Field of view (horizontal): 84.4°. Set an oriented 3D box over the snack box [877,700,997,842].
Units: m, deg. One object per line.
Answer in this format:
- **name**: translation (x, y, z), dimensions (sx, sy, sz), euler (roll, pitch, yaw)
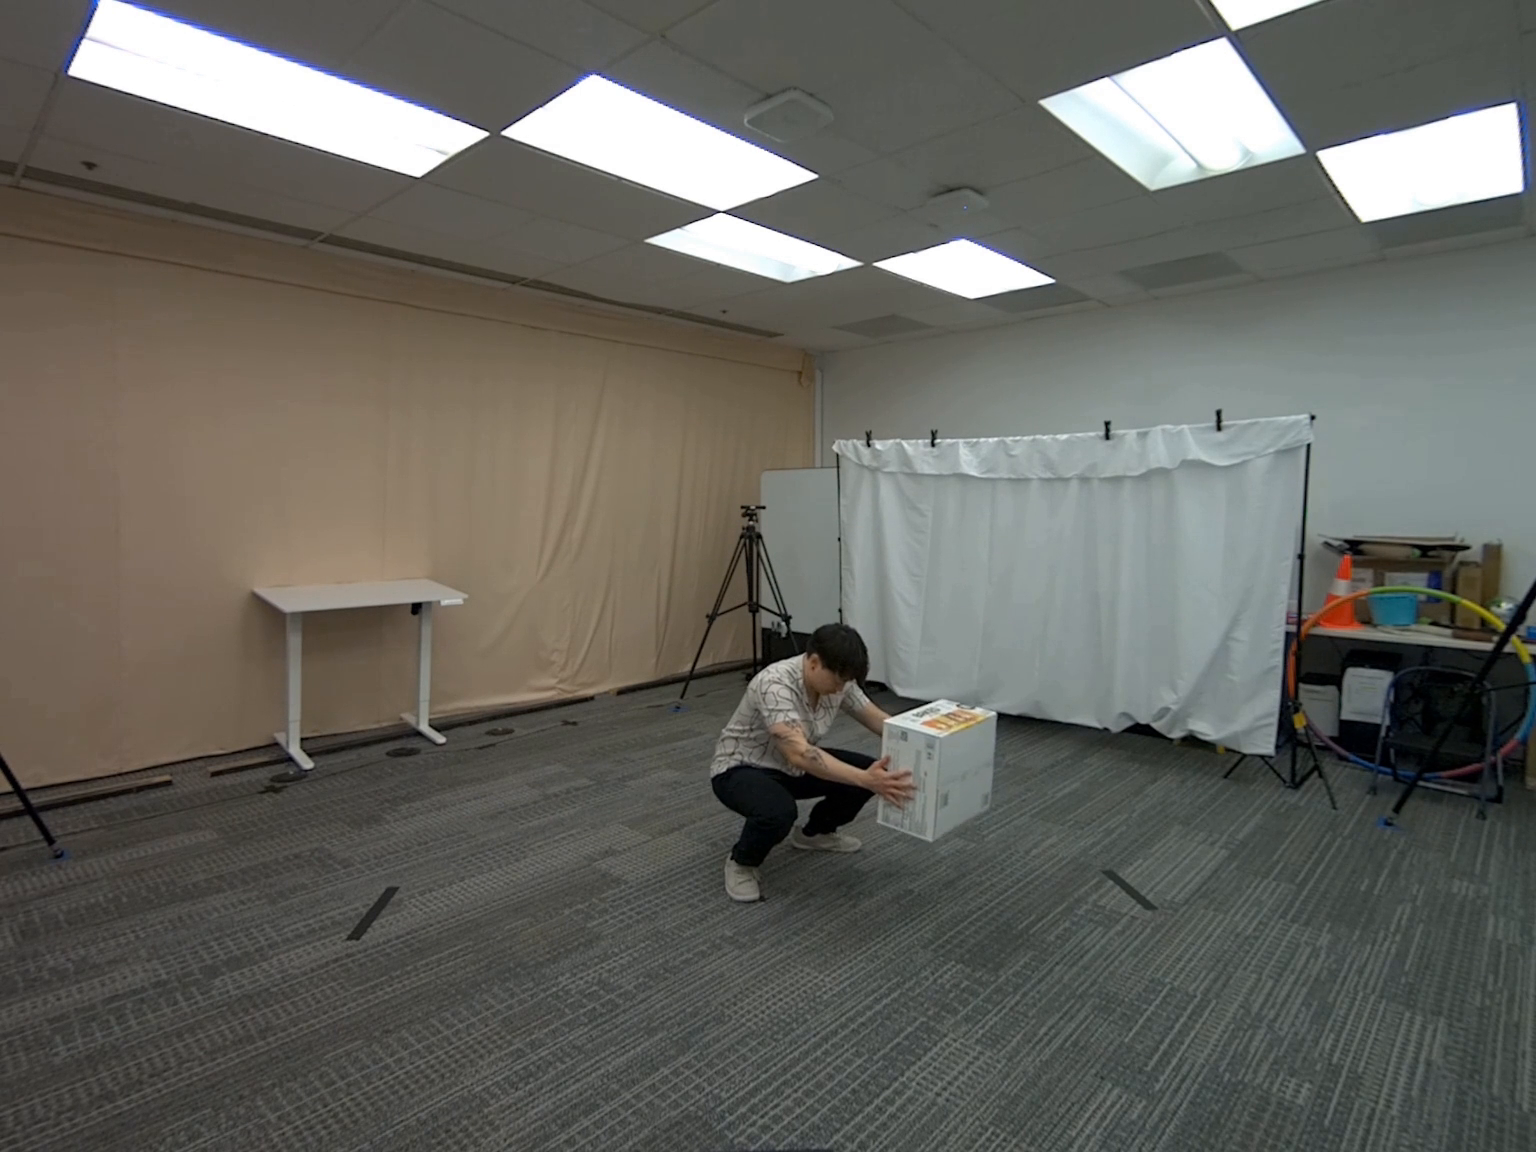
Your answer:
- **snack box**: translation (0.572, 0.618, 2.778), dimensions (0.213, 0.339, 0.393), euler (6, 7, 40)
